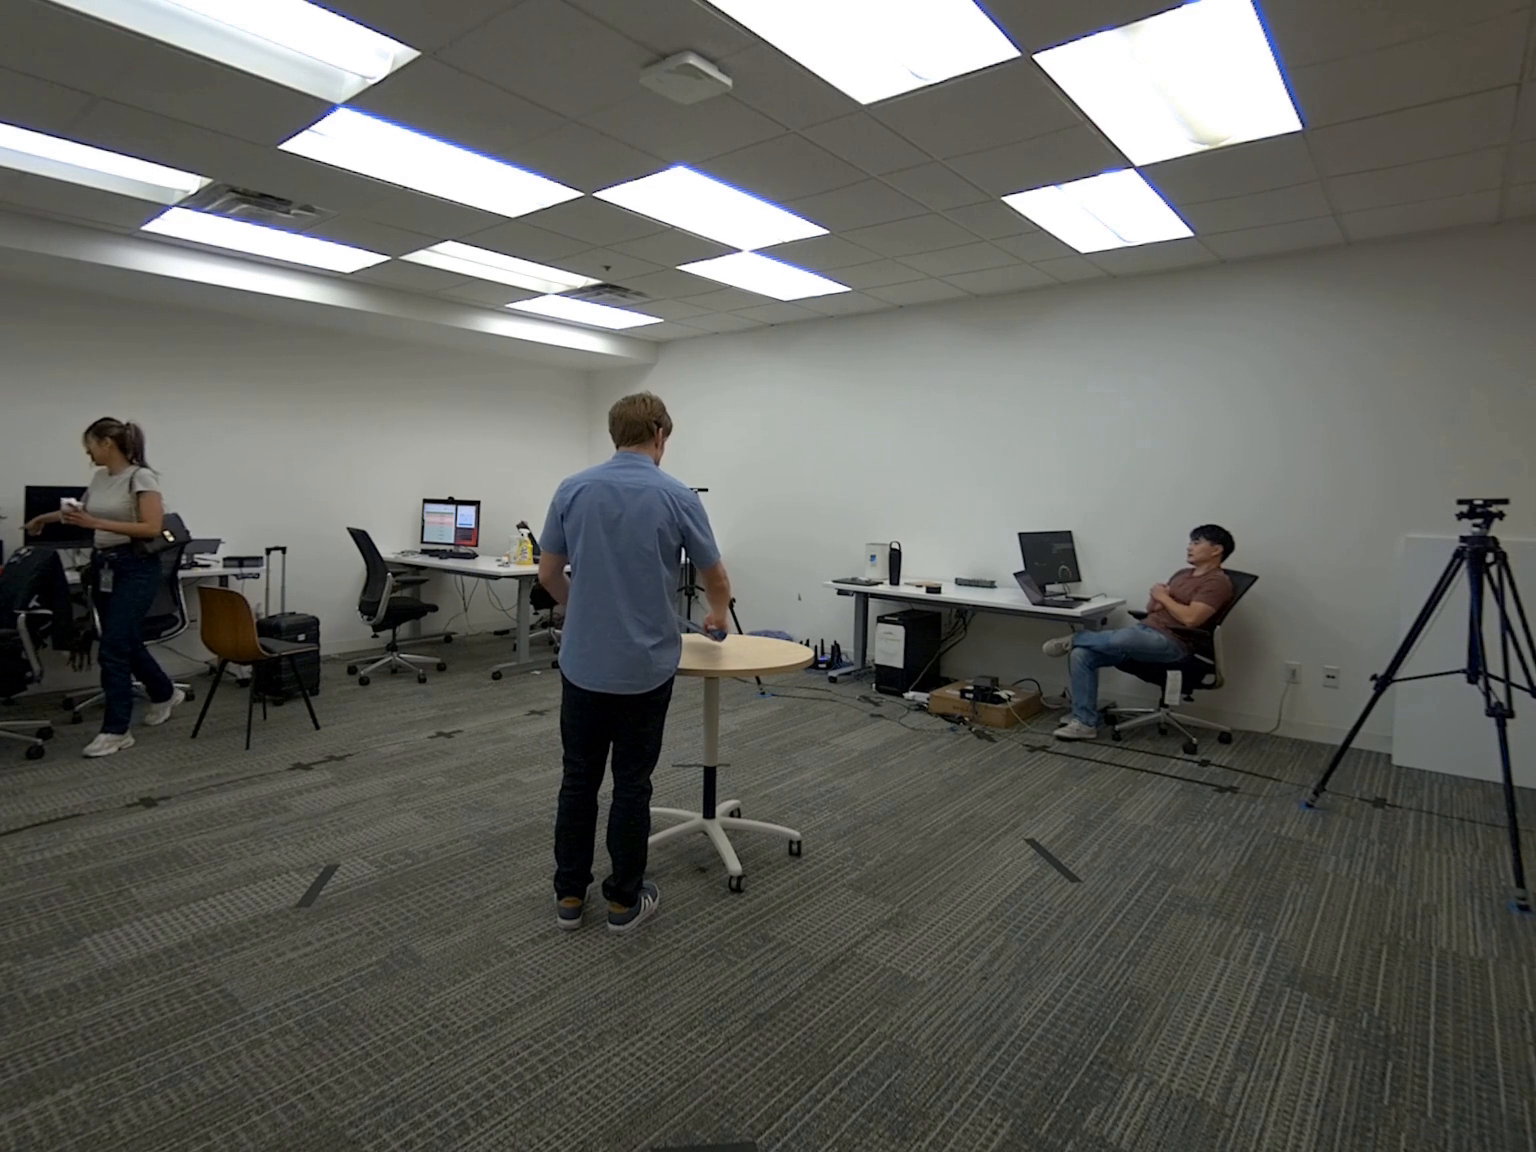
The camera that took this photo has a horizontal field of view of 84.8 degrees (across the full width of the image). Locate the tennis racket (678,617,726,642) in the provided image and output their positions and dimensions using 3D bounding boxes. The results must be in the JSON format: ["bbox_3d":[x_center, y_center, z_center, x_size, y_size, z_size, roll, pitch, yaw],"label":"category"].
[{"bbox_3d":[-0.268,0.208,3.187,0.209,0.032,0.442,24,-6,-20],"label":"tennis racket"}]
